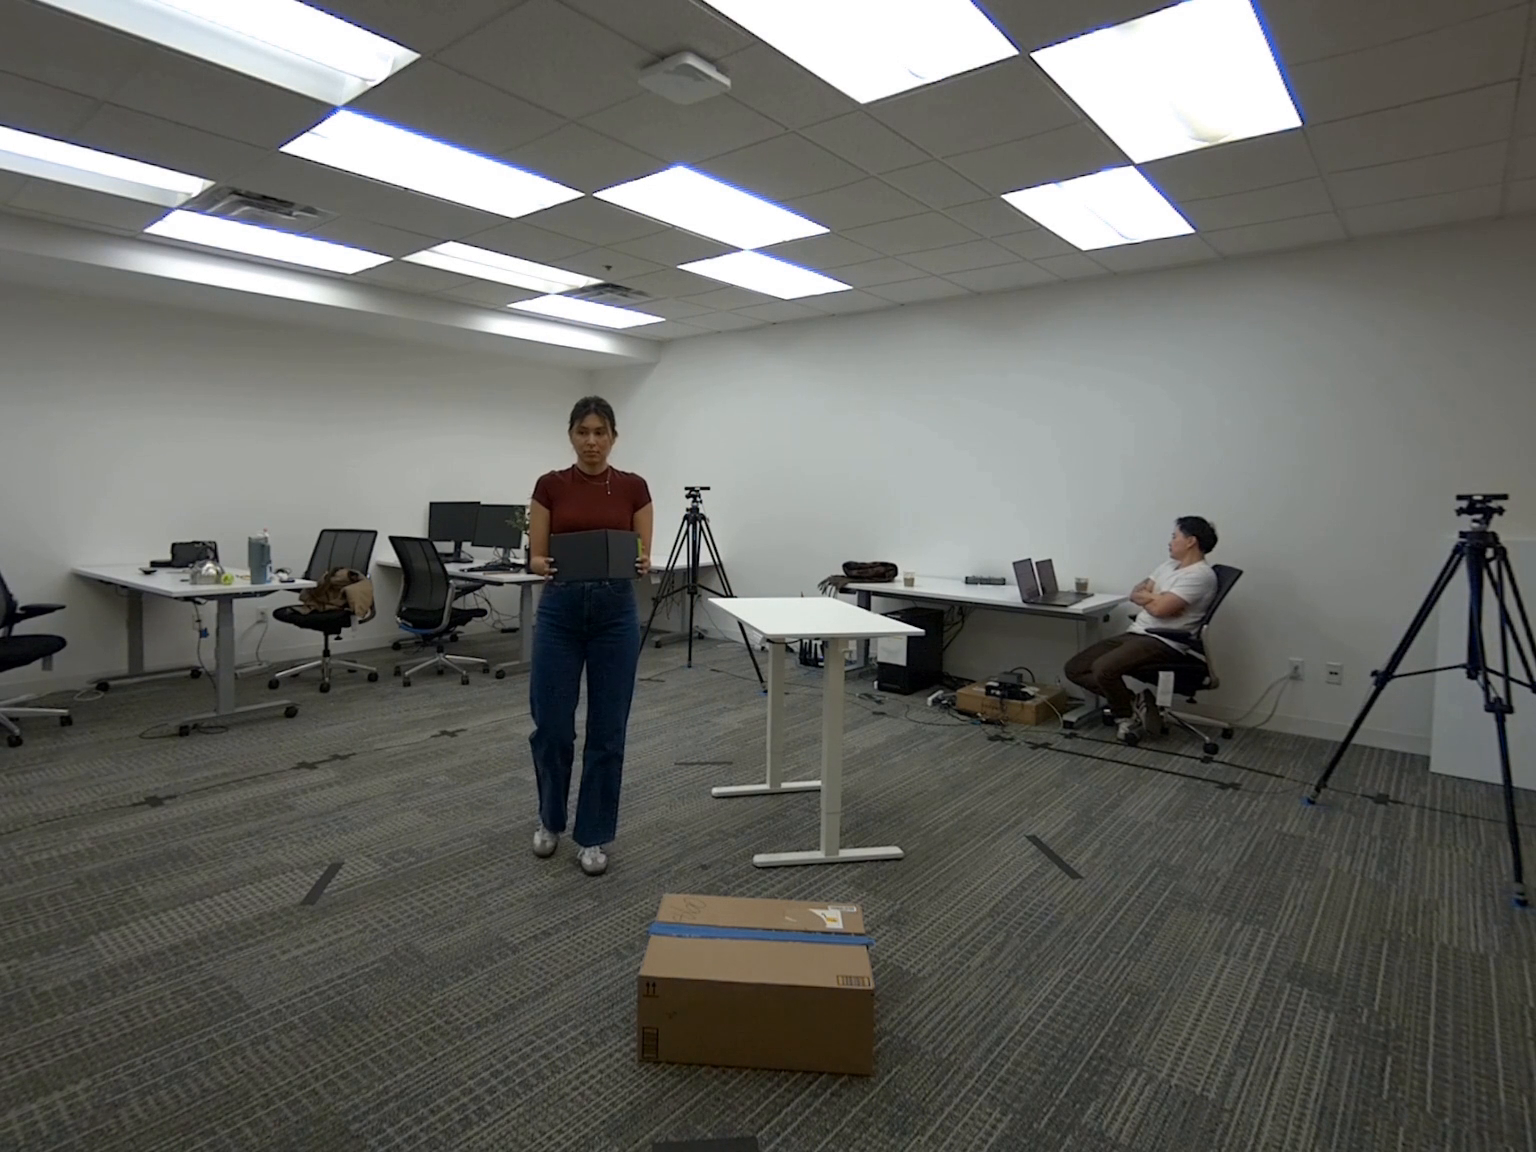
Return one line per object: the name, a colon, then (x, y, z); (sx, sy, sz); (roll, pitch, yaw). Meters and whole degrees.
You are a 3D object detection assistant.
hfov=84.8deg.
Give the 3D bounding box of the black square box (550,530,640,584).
black square box: (-0.590, -0.064, 2.819); (0.233, 0.156, 0.211); (-4, -3, 23)
